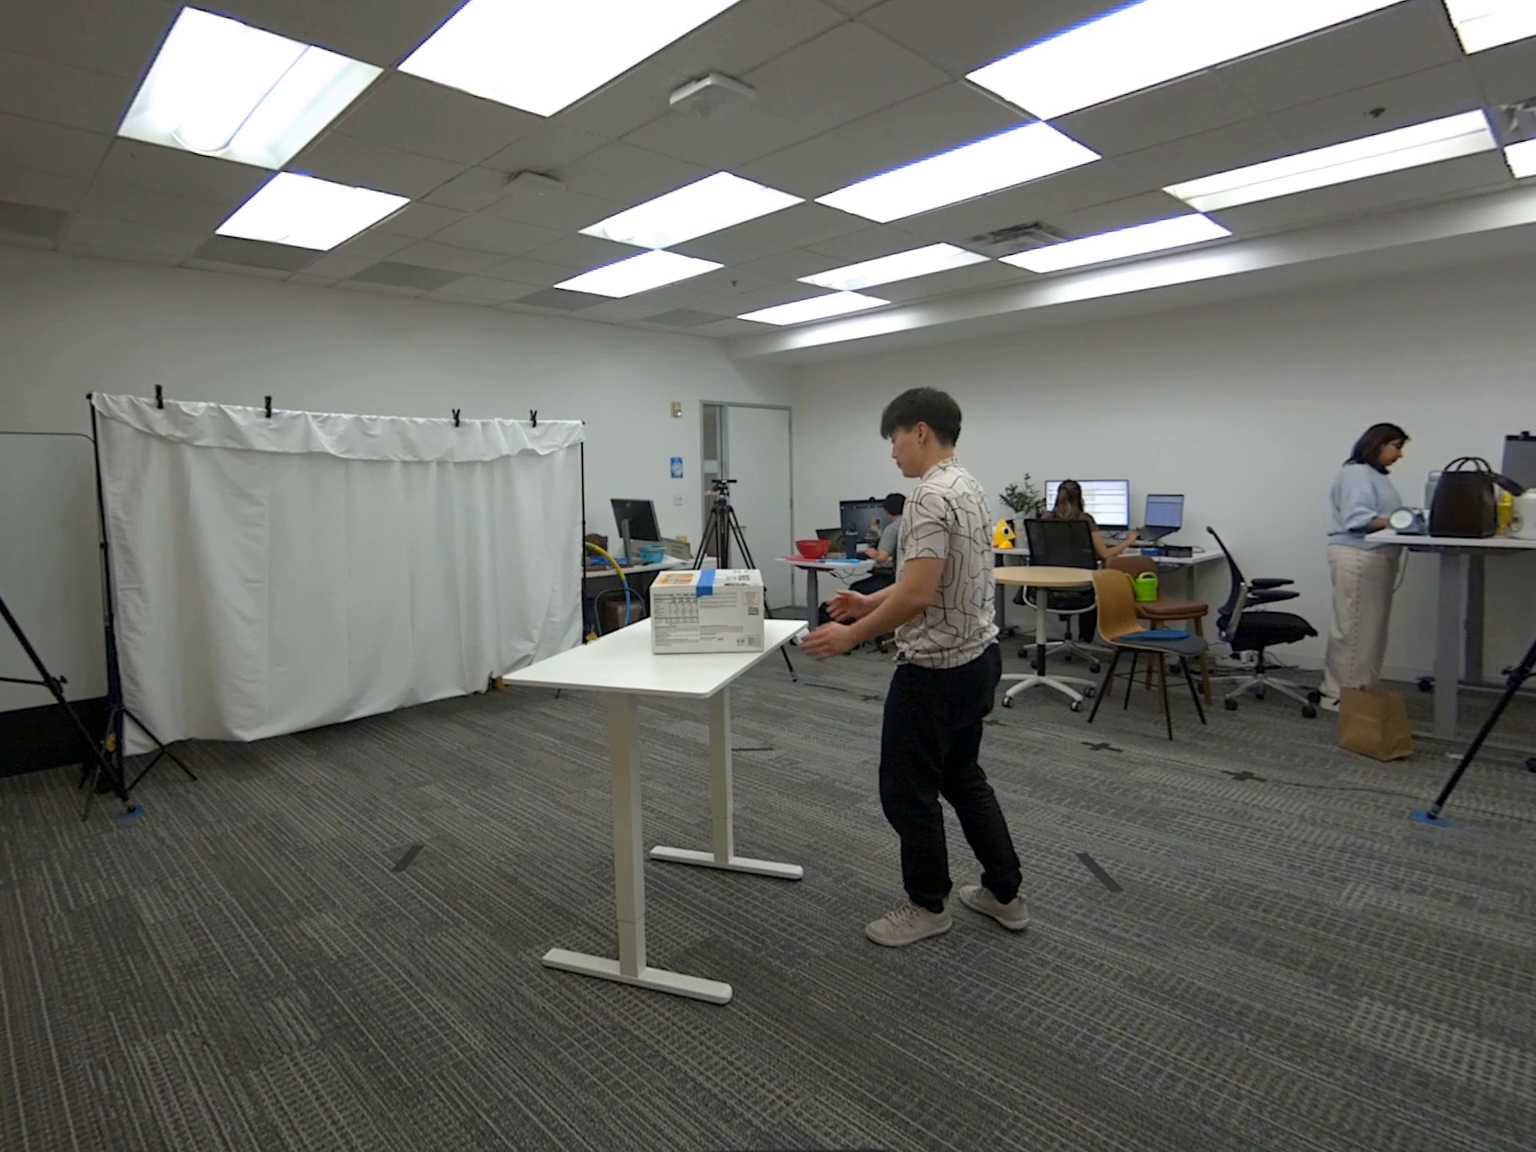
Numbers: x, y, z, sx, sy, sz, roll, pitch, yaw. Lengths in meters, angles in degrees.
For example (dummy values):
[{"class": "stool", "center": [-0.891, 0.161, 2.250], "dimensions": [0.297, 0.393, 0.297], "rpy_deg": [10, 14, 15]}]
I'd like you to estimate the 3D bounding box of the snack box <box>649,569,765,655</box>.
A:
[{"class": "snack box", "center": [-0.183, 0.106, 2.740], "dimensions": [0.340, 0.204, 0.407], "rpy_deg": [-2, 7, -1]}]
